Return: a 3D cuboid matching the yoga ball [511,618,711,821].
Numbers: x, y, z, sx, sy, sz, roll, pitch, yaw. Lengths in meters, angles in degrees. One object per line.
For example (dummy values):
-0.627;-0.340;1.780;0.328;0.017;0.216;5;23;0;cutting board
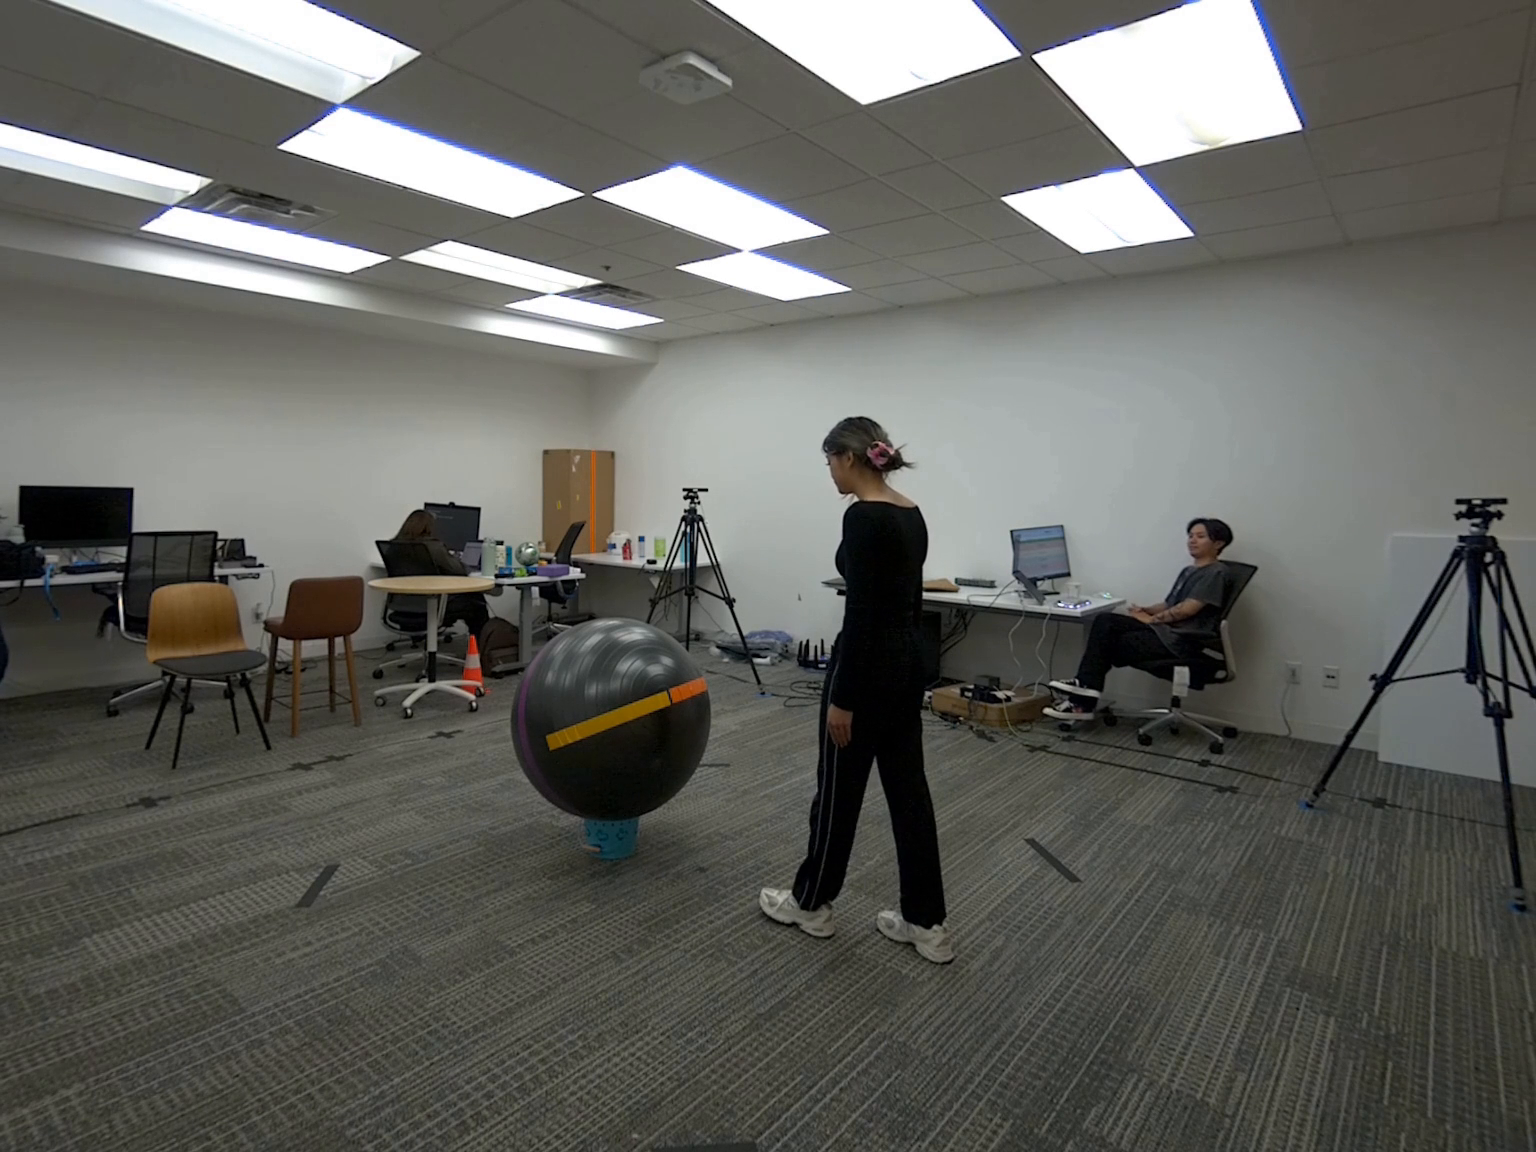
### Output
-0.608;0.538;3.251;0.757;0.755;0.762;1;4;-2;yoga ball
